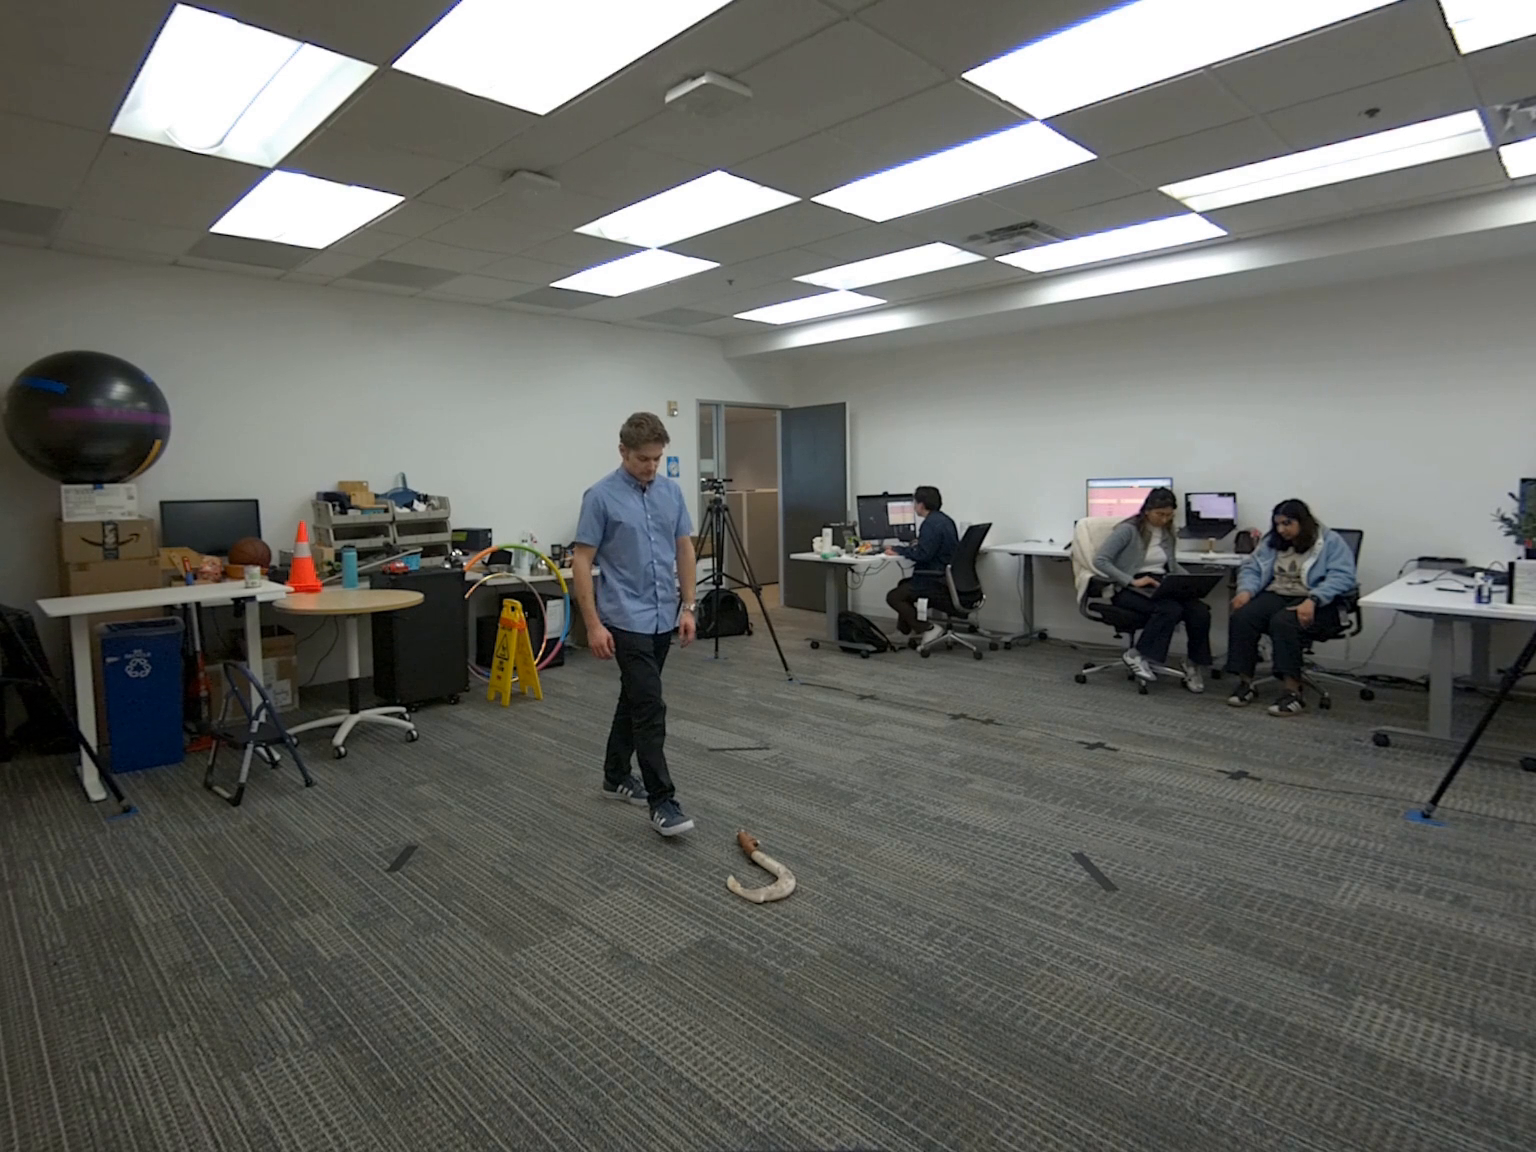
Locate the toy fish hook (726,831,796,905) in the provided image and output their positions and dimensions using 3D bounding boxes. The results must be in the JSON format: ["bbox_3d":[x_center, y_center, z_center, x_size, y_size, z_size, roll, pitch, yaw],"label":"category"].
[{"bbox_3d":[-0.065,1.028,3.052,0.221,0.048,0.517,-3,6,-19],"label":"toy fish hook"}]
